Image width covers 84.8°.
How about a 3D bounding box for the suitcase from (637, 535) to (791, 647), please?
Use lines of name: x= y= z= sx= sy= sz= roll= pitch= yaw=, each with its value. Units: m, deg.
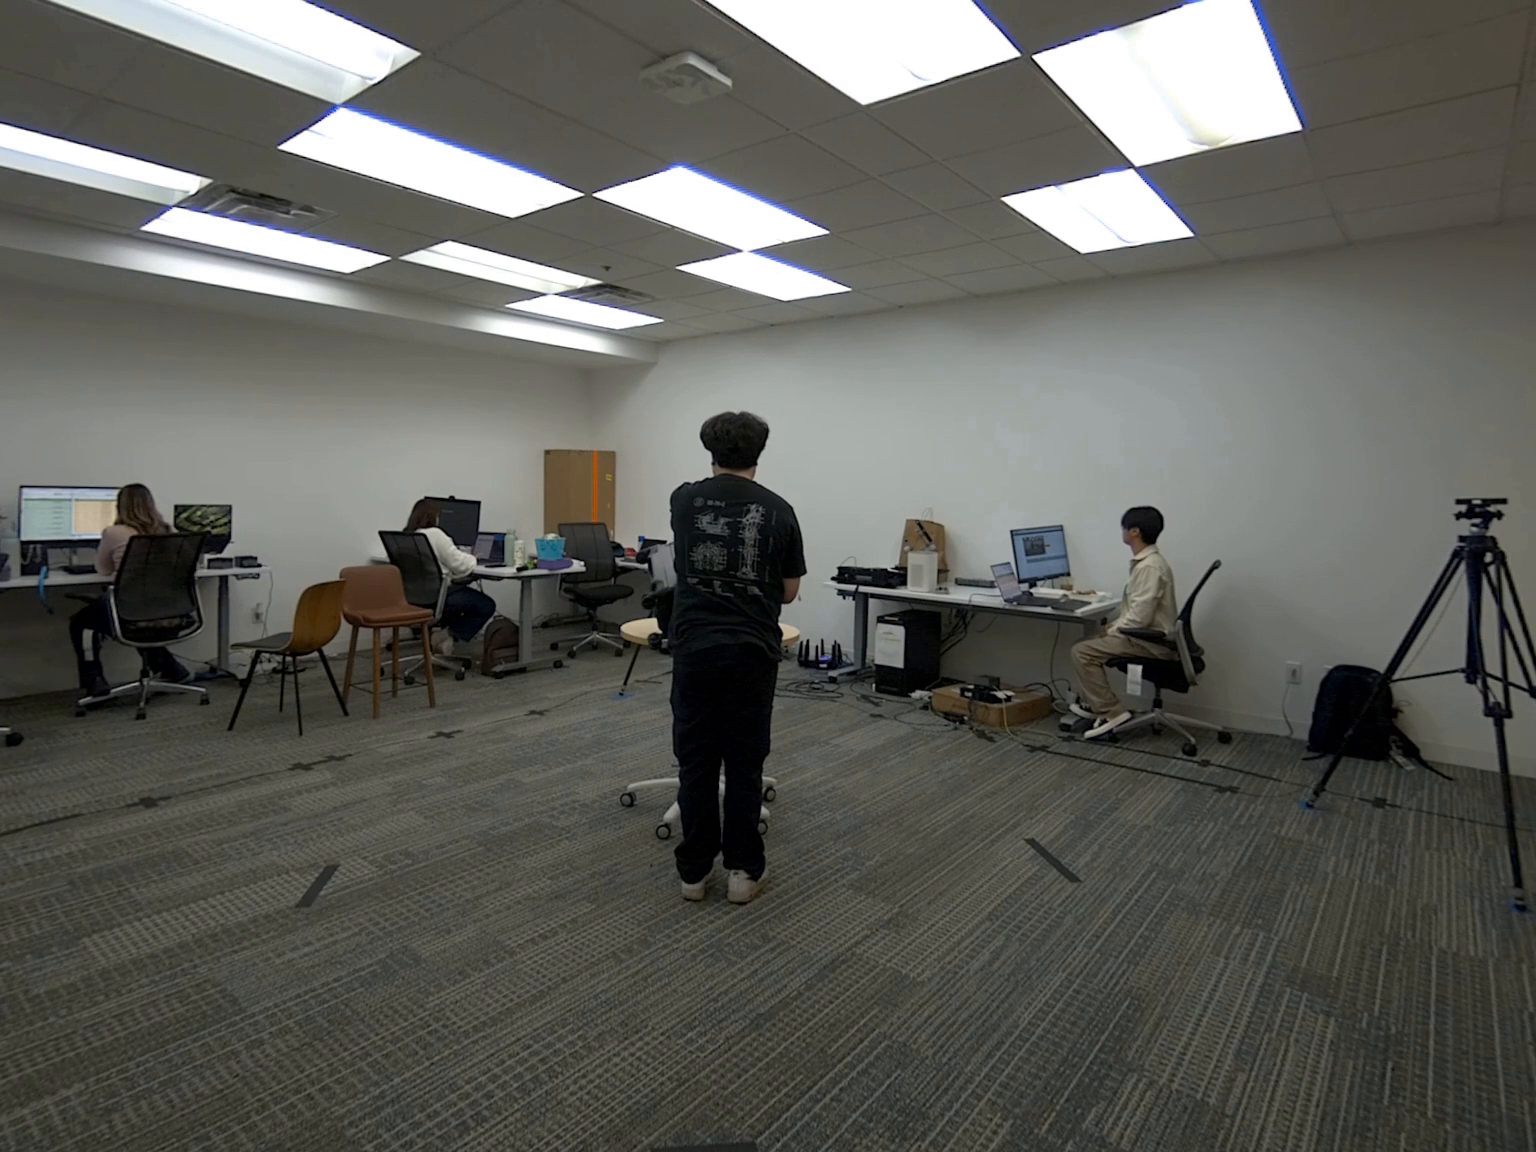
suitcase: x=-0.224 y=0.020 z=3.351 sx=0.548 sy=0.241 sz=0.388 roll=-9 pitch=36 yaw=-4
